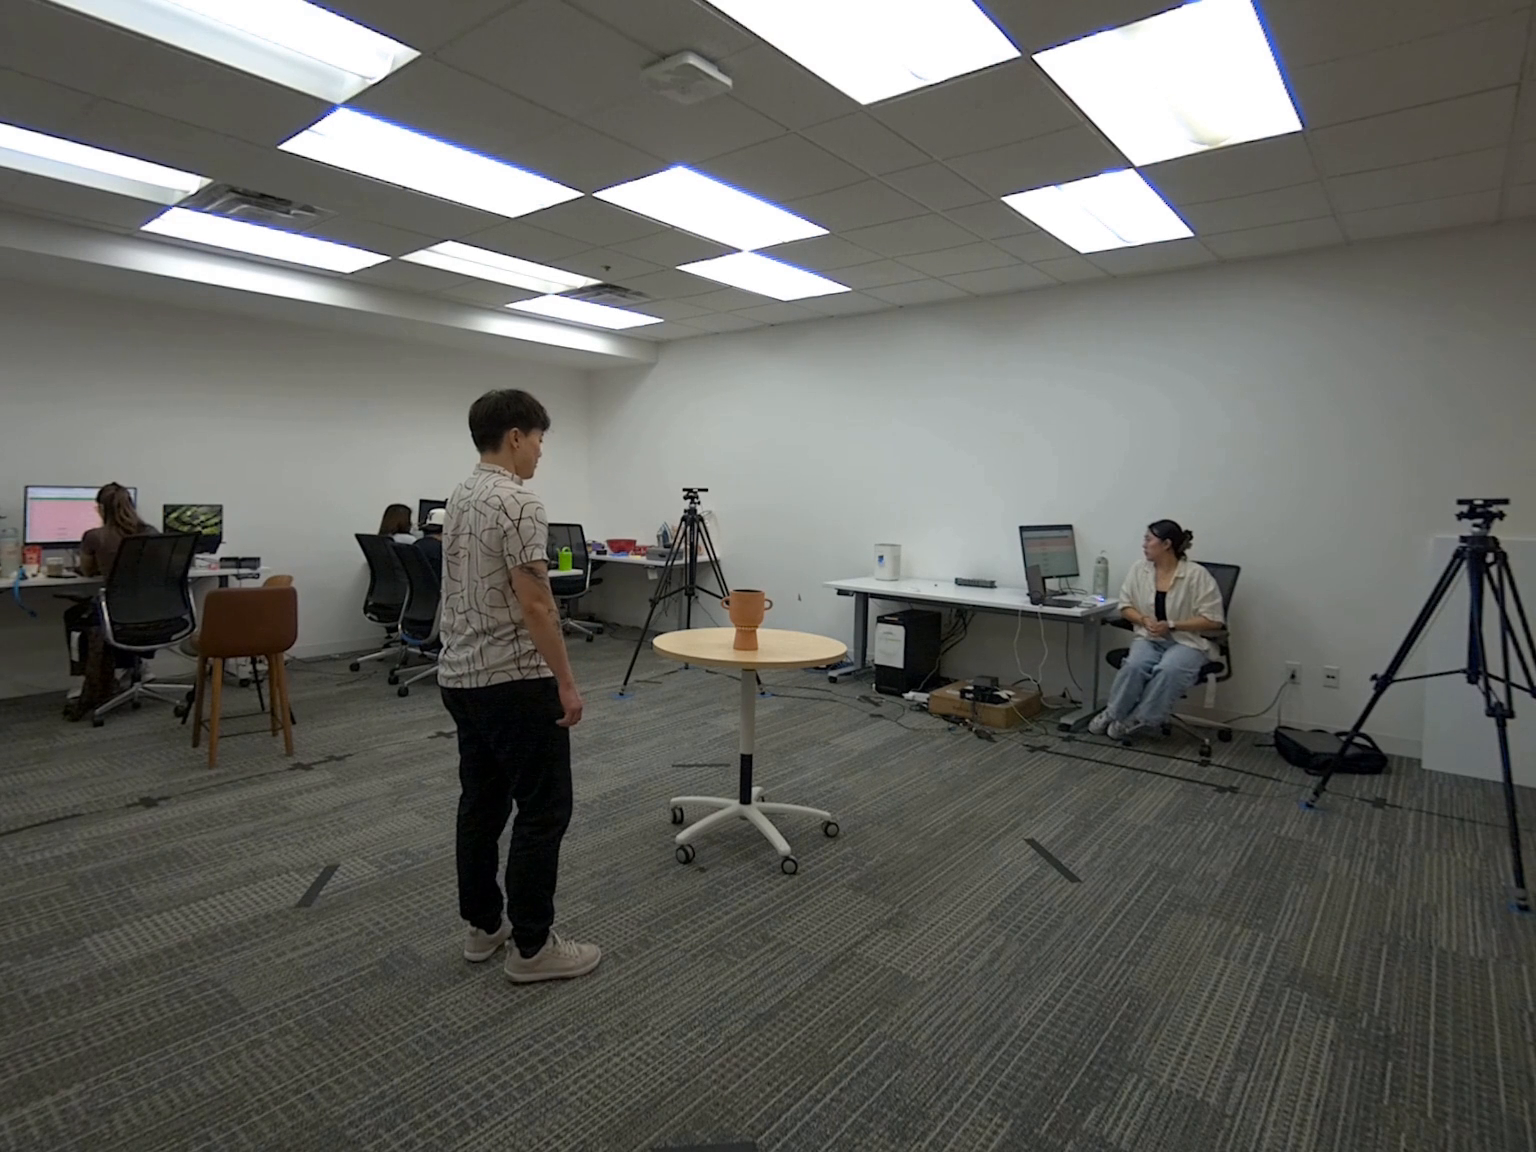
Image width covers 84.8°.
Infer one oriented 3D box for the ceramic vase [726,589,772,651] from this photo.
[{"bbox_3d":[-0.091,0.165,3.245,0.164,0.219,0.130,4,3,38],"label":"ceramic vase"}]
